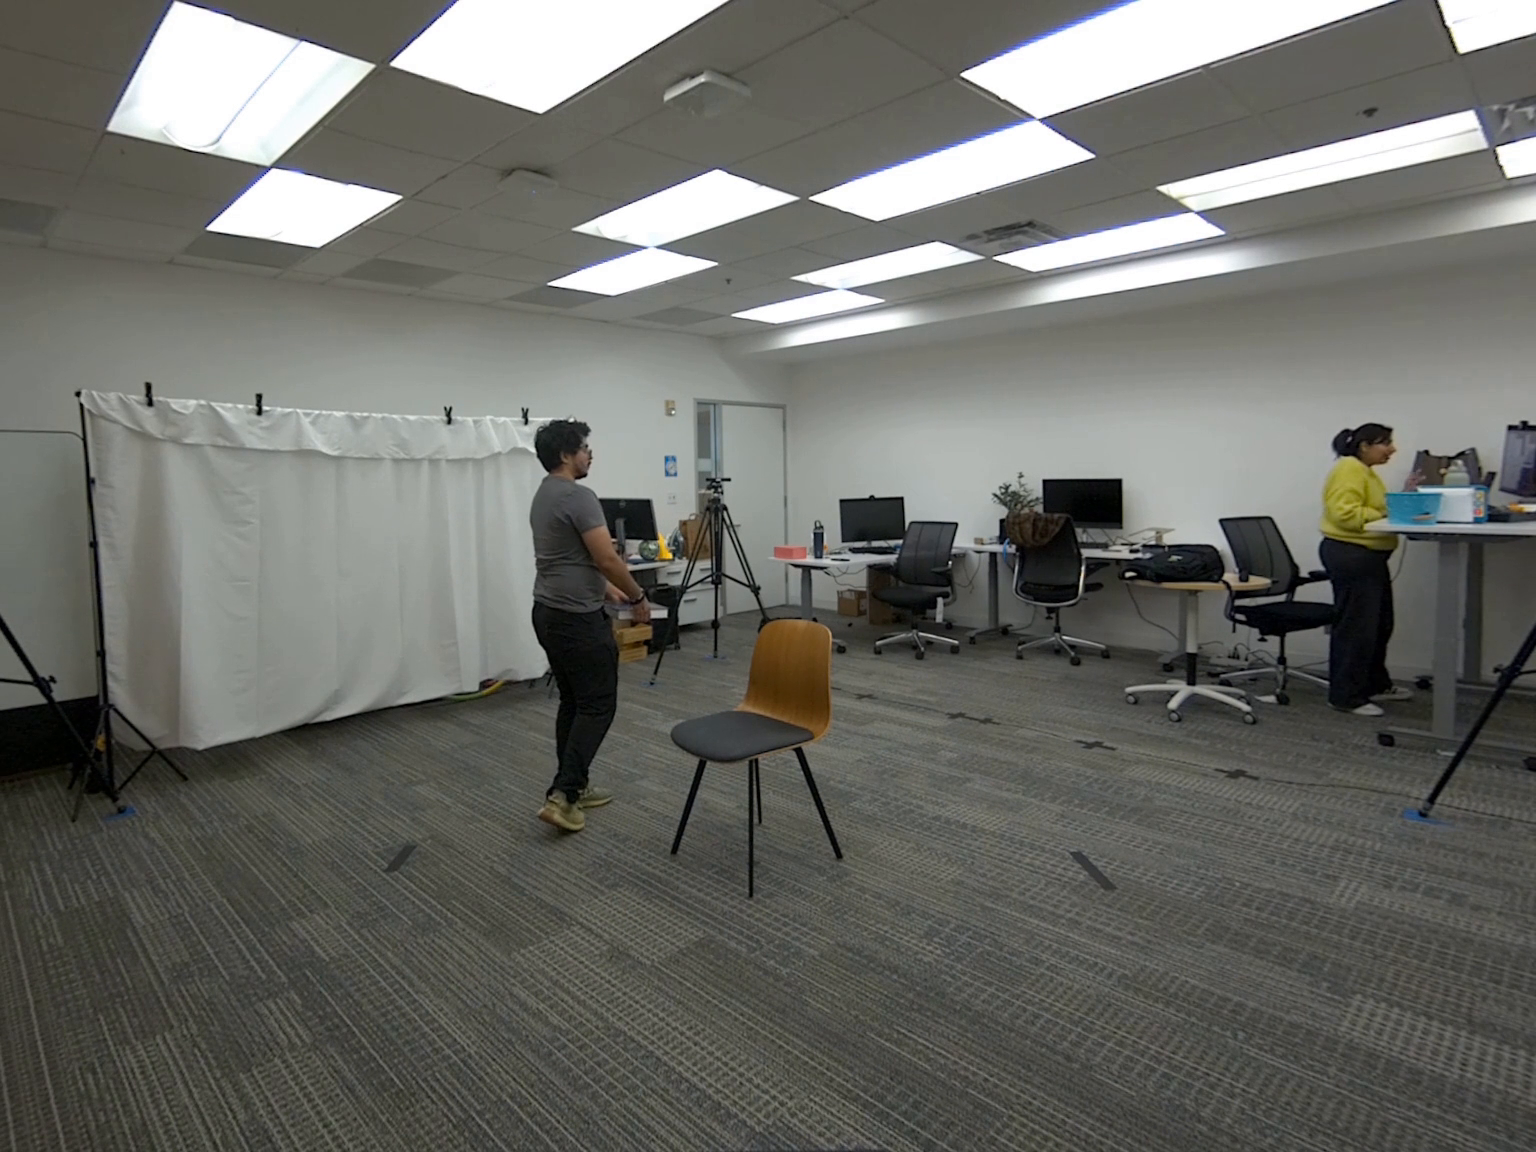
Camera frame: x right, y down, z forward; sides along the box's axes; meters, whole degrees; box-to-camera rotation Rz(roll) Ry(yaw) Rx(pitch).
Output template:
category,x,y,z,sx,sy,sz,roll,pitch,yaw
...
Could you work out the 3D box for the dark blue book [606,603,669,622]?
category,x,y,z,sx,sy,sz,roll,pitch,yaw
dark blue book,-0.588,0.157,3.758,0.238,0.045,0.168,-2,8,-35
